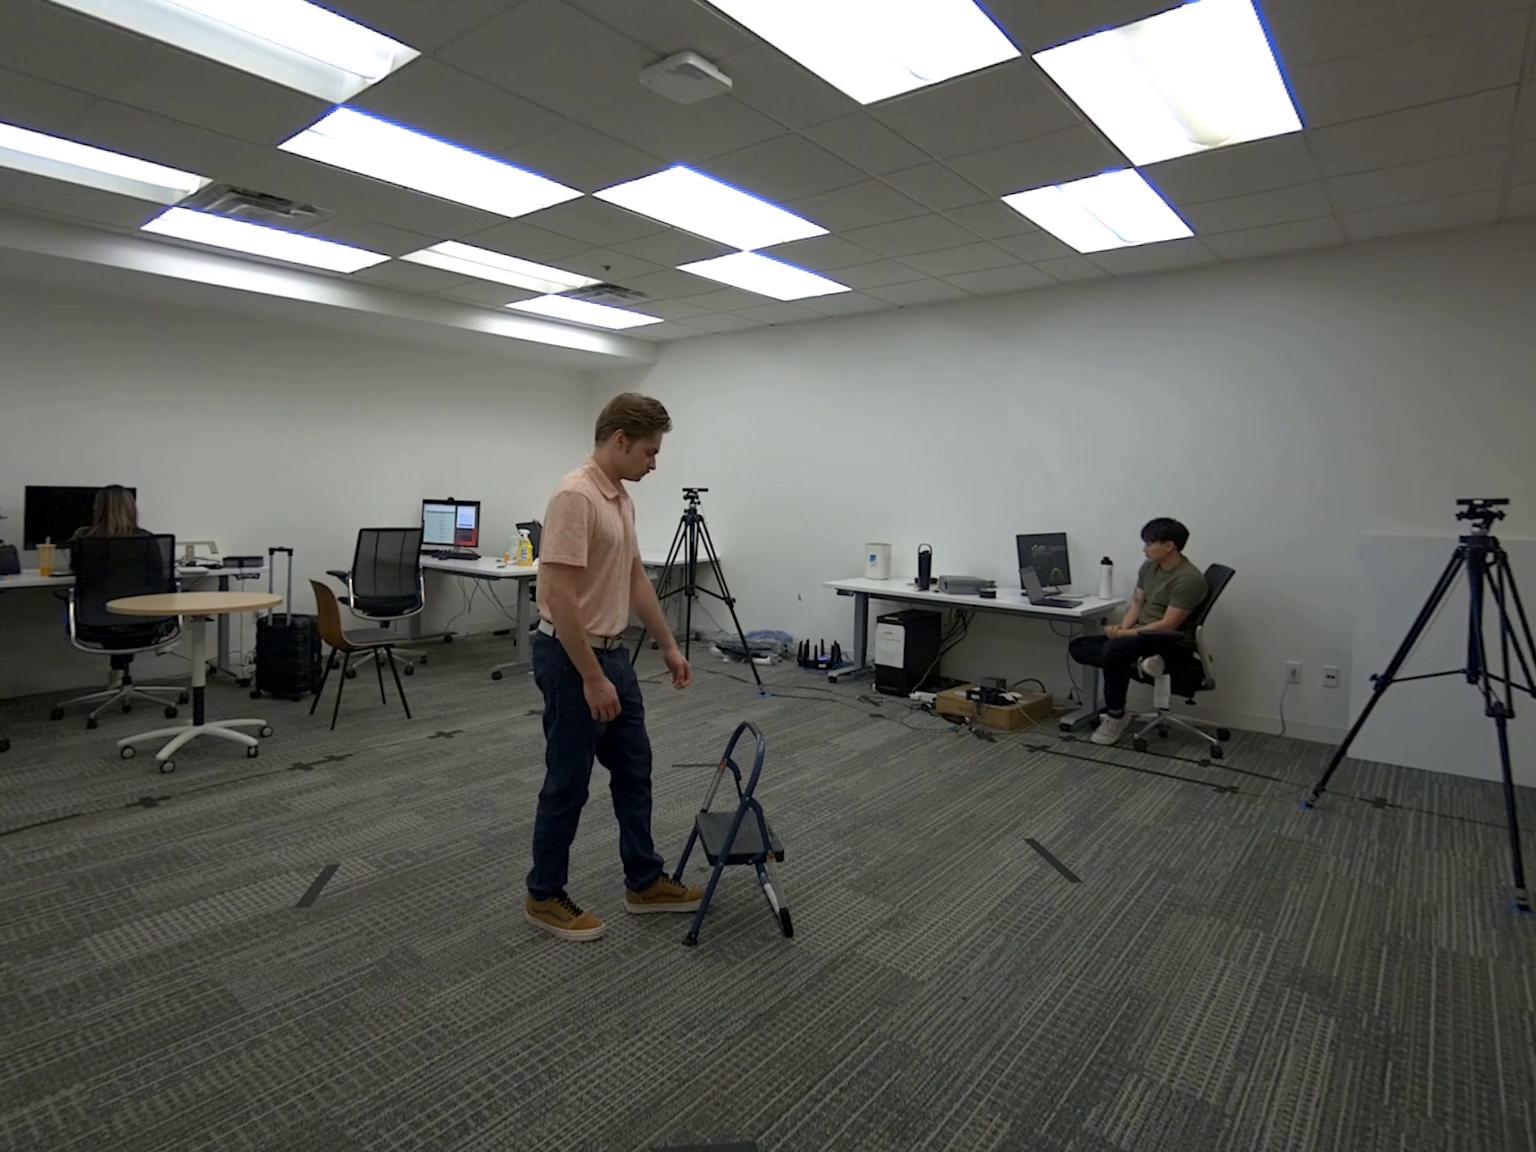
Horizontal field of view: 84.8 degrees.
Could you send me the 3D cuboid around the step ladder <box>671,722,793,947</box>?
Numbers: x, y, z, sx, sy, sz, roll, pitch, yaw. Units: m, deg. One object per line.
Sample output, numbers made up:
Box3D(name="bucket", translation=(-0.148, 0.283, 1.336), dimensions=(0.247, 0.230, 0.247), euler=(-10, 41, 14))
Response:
Box3D(name="step ladder", translation=(-0.134, 0.801, 2.802), dimensions=(0.345, 0.604, 0.438), euler=(0, 4, -13))
